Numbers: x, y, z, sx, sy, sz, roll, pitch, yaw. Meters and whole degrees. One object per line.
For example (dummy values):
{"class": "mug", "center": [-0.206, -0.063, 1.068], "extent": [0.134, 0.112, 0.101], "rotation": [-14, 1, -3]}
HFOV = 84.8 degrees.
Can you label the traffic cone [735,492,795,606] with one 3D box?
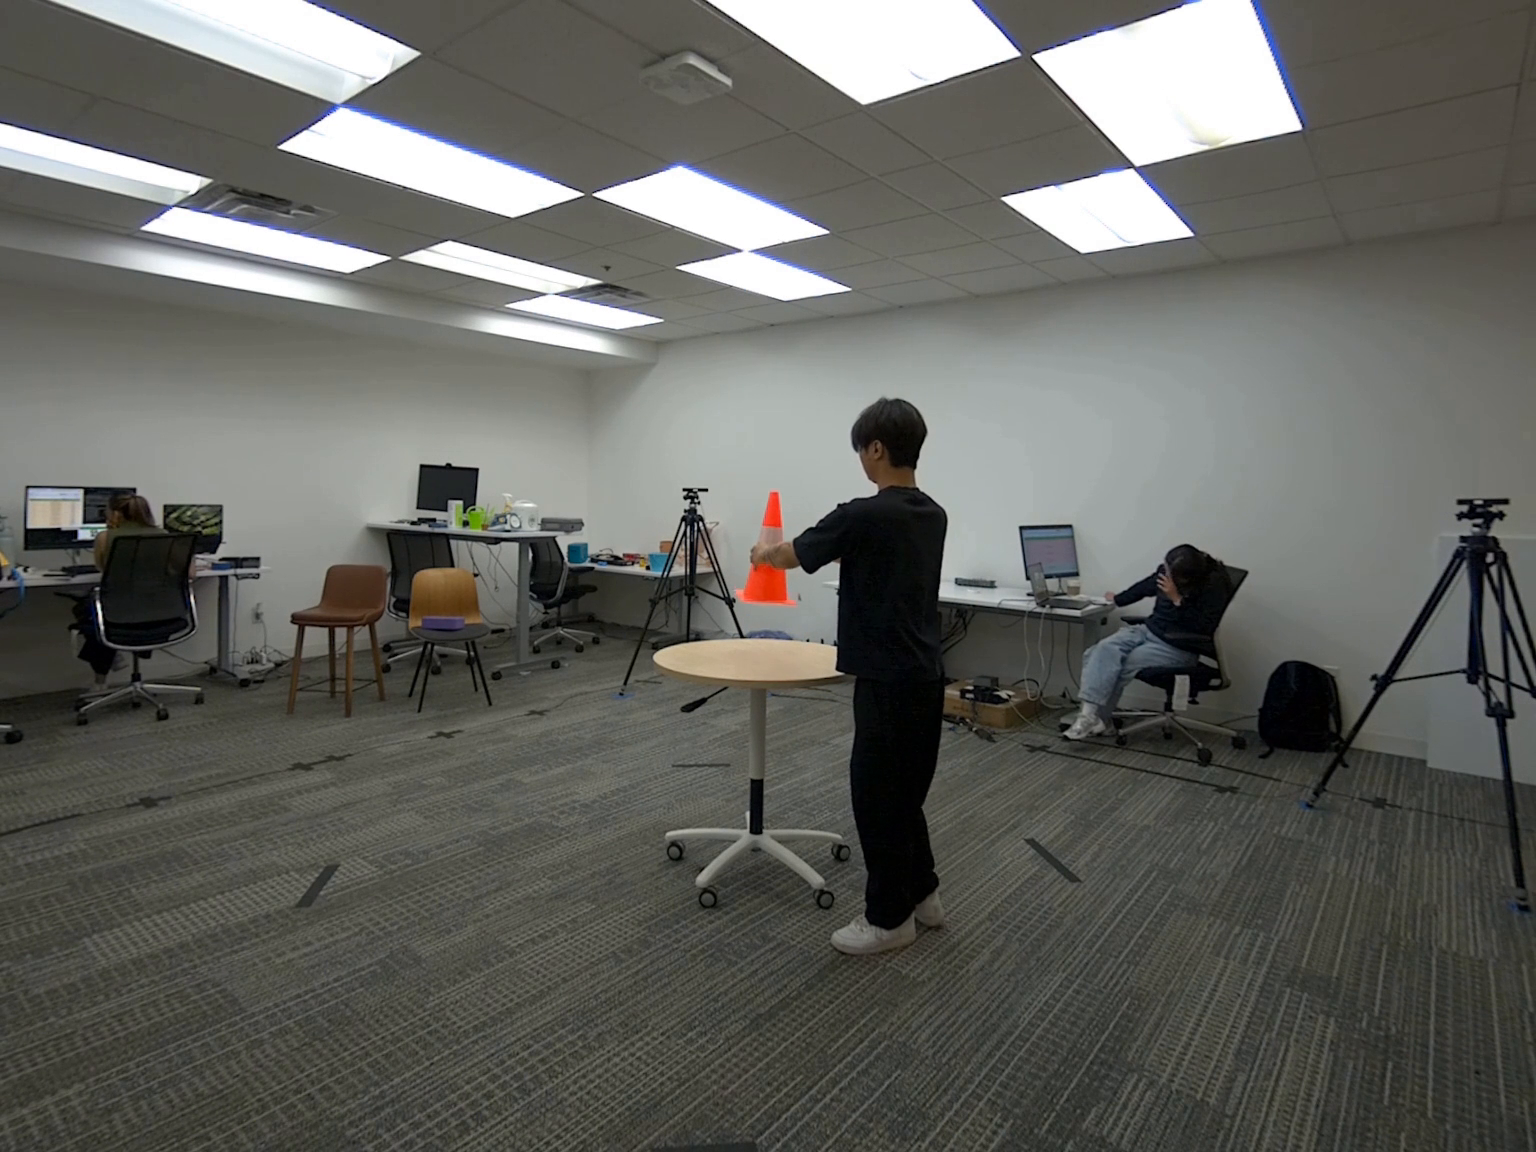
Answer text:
{"class": "traffic cone", "center": [0.004, -0.116, 3.015], "extent": [0.202, 0.382, 0.207], "rotation": [5, 5, -11]}
